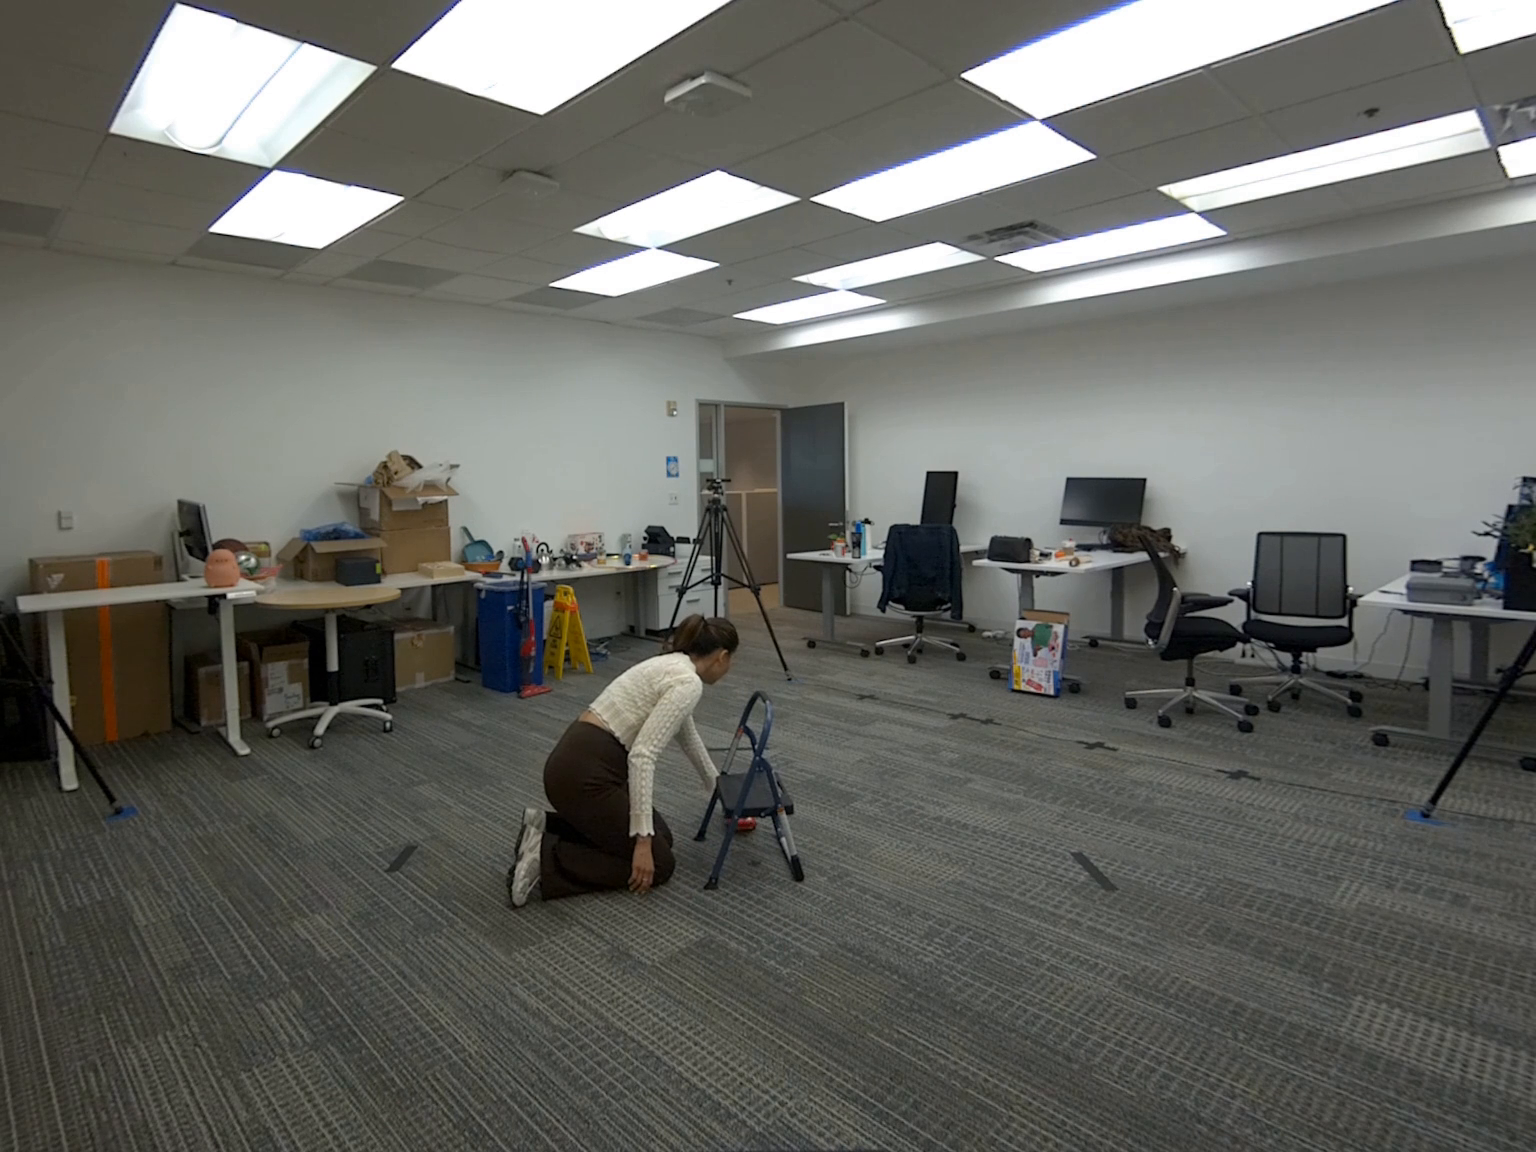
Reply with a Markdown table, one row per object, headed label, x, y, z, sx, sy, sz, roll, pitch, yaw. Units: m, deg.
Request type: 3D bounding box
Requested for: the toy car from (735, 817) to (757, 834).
| label | x | y | z | sx | sy | sz | roll | pitch | yaw |
| --- | --- | --- | --- | --- | --- | --- | --- | --- | --- |
| toy car | -0.111 | 0.980 | 3.465 | 0.130 | 0.084 | 0.253 | -1 | -8 | -3 |
